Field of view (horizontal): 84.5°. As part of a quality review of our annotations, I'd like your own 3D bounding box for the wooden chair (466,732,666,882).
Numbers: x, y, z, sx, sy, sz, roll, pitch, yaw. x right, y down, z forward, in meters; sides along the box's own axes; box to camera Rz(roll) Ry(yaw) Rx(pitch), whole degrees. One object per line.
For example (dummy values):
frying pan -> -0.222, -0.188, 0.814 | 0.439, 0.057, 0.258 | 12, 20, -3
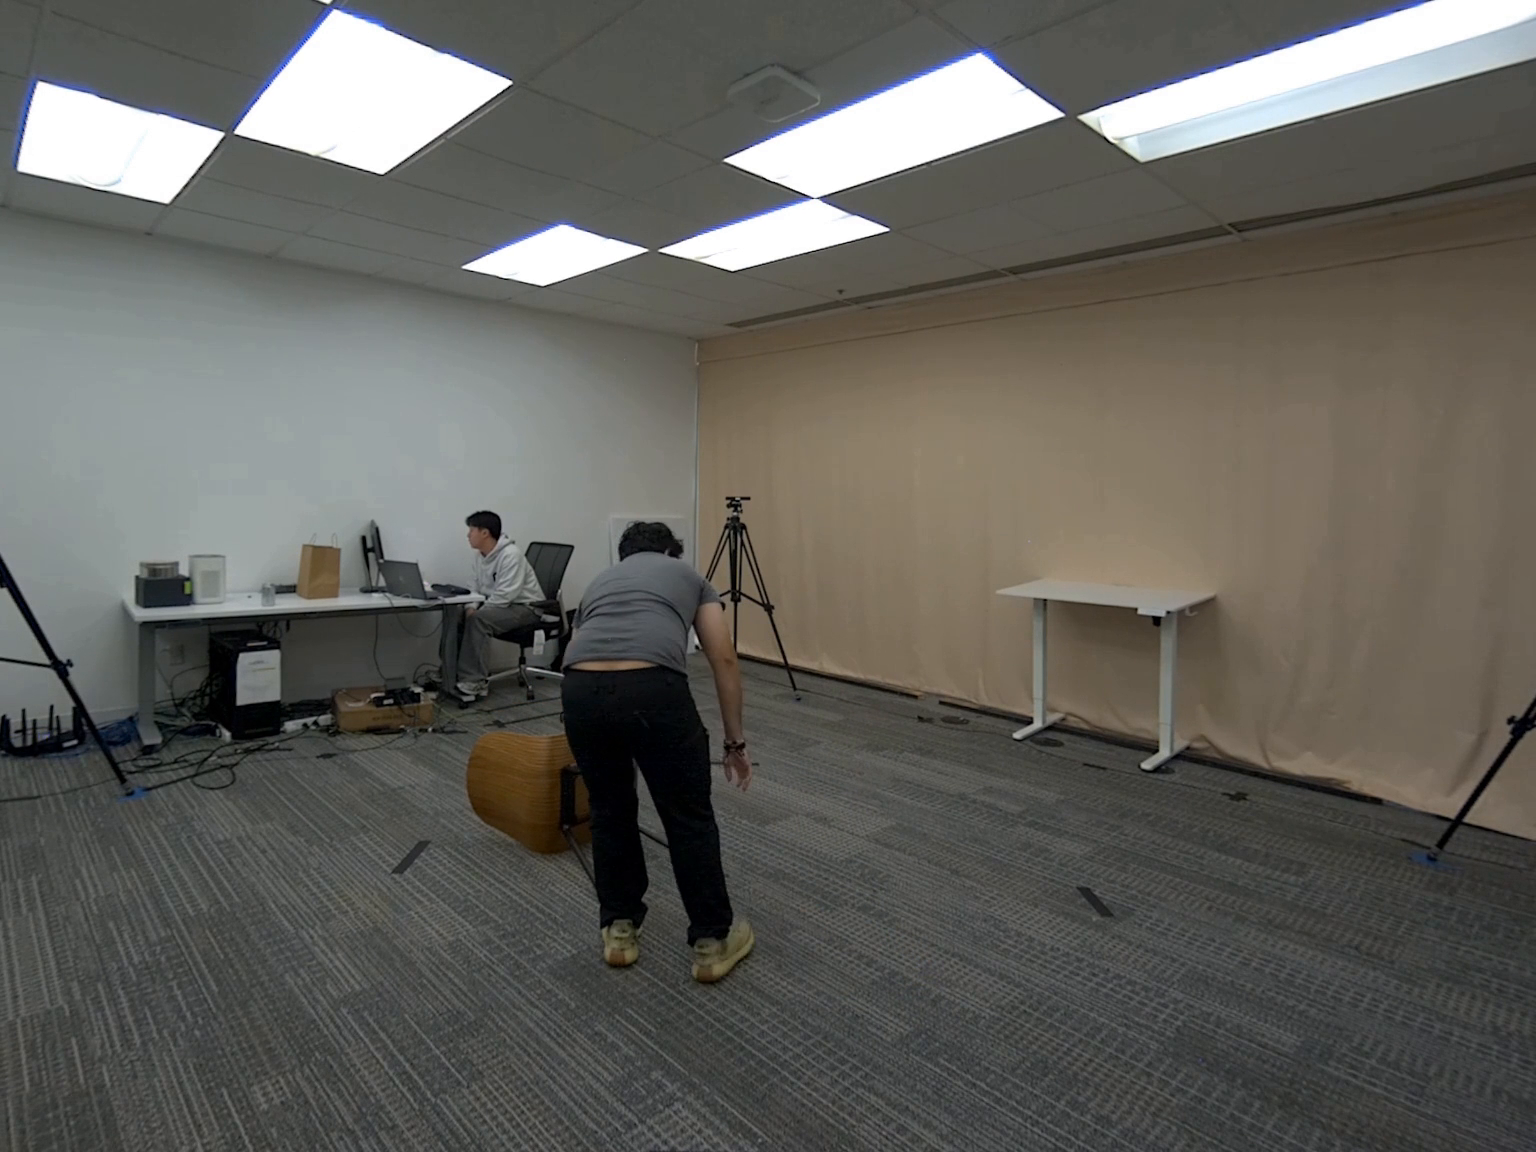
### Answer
wooden chair -> -0.716, 0.850, 3.297 | 0.899, 0.476, 0.512 | 6, 7, 37
